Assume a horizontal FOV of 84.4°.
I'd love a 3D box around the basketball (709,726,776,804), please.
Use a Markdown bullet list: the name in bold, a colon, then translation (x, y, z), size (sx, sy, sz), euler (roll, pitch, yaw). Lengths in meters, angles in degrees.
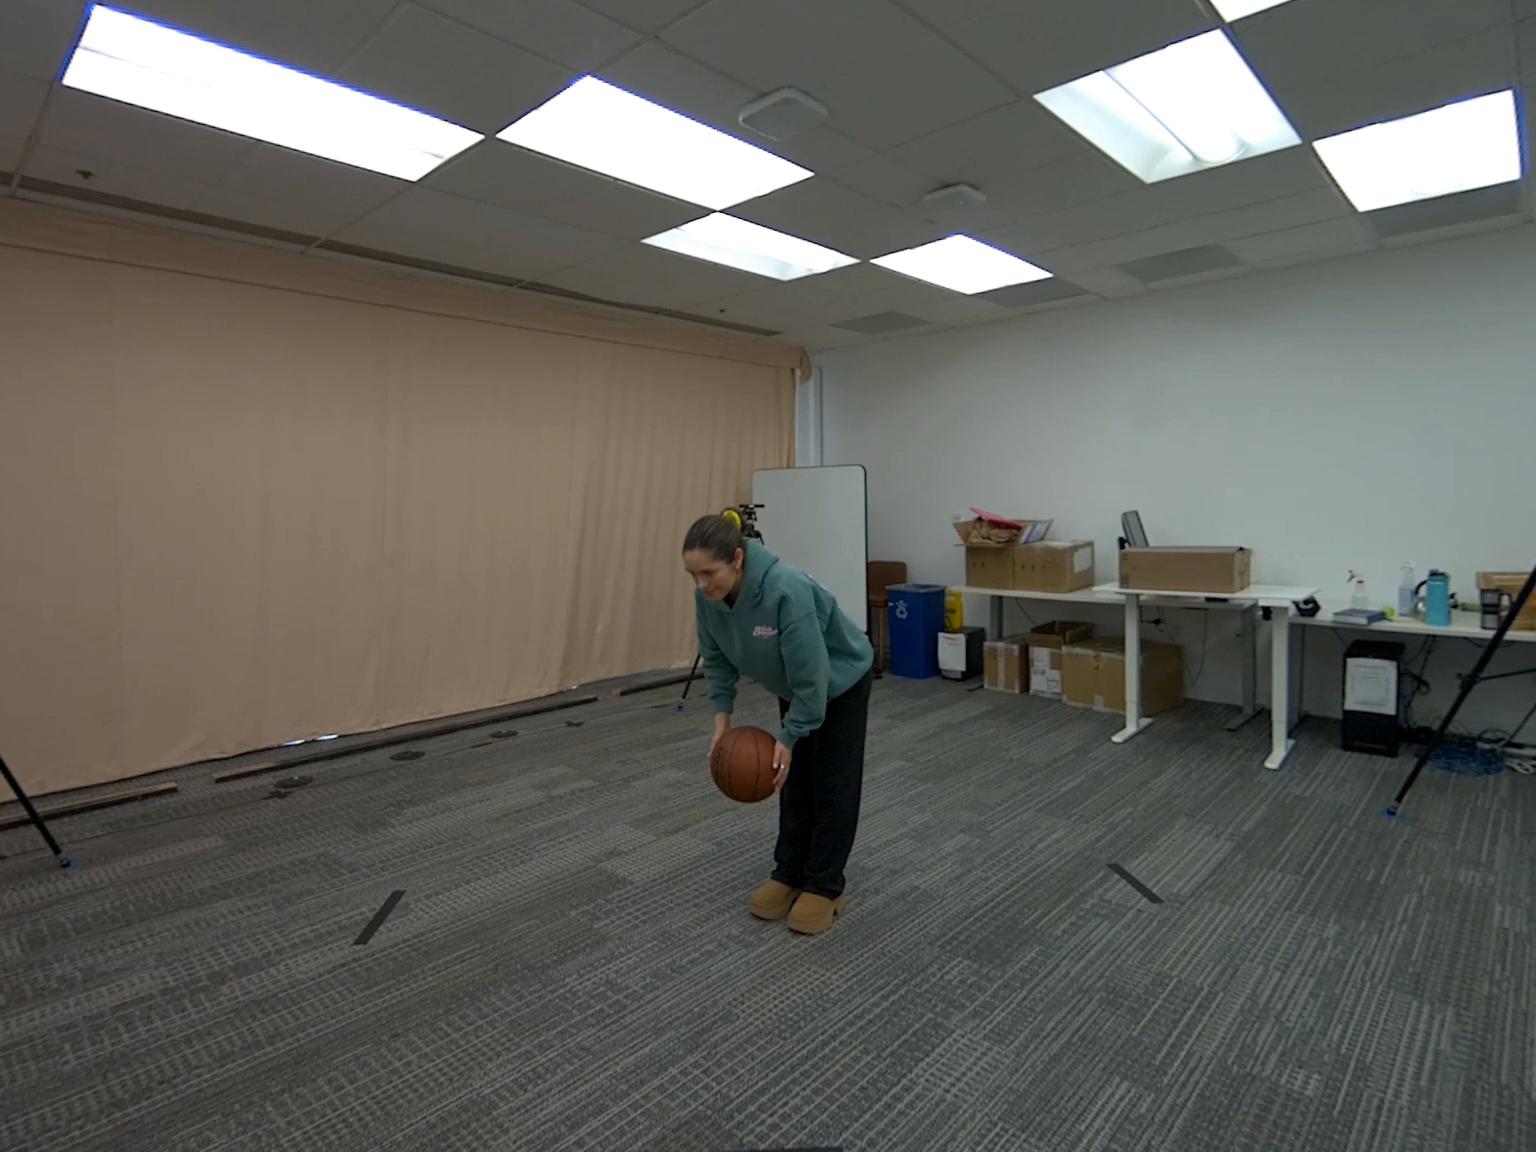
- **basketball**: translation (-0.059, 0.592, 2.654), size (0.236, 0.235, 0.237), euler (-1, 4, -2)
